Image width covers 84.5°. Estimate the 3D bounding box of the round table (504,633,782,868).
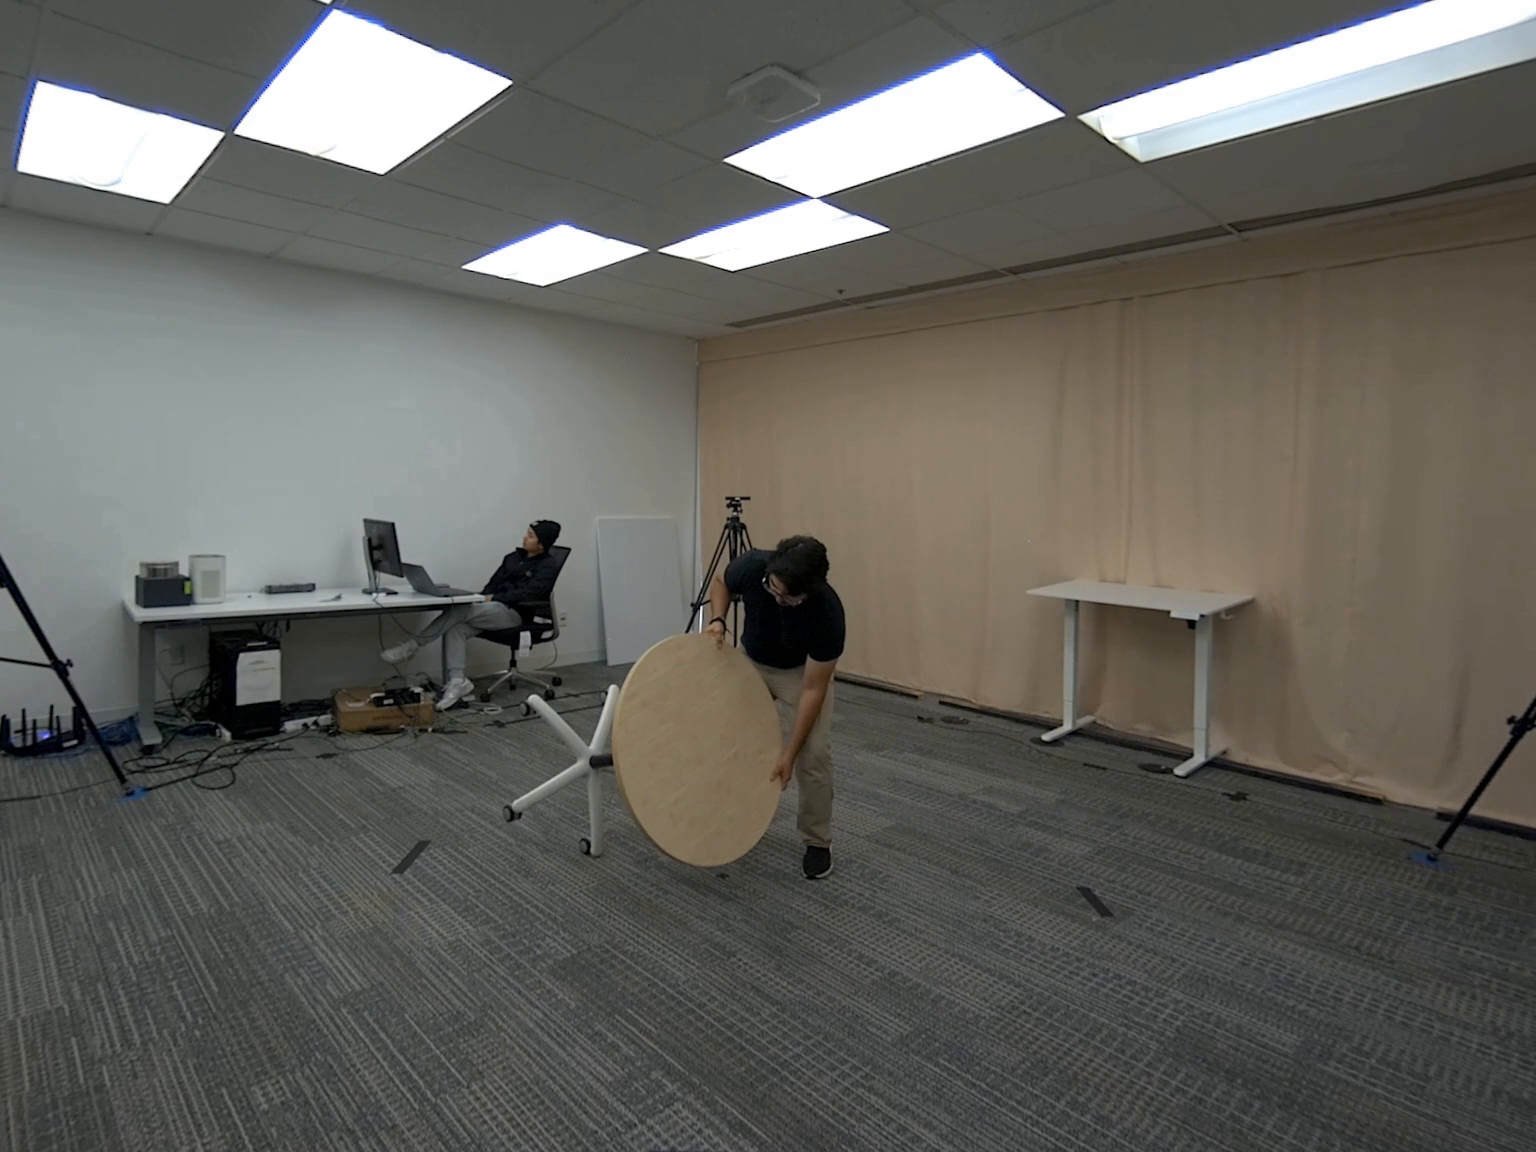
[{"bbox_3d":[-0.501,0.654,3.100,0.798,0.791,0.767,-18,-10,41],"label":"round table"}]
